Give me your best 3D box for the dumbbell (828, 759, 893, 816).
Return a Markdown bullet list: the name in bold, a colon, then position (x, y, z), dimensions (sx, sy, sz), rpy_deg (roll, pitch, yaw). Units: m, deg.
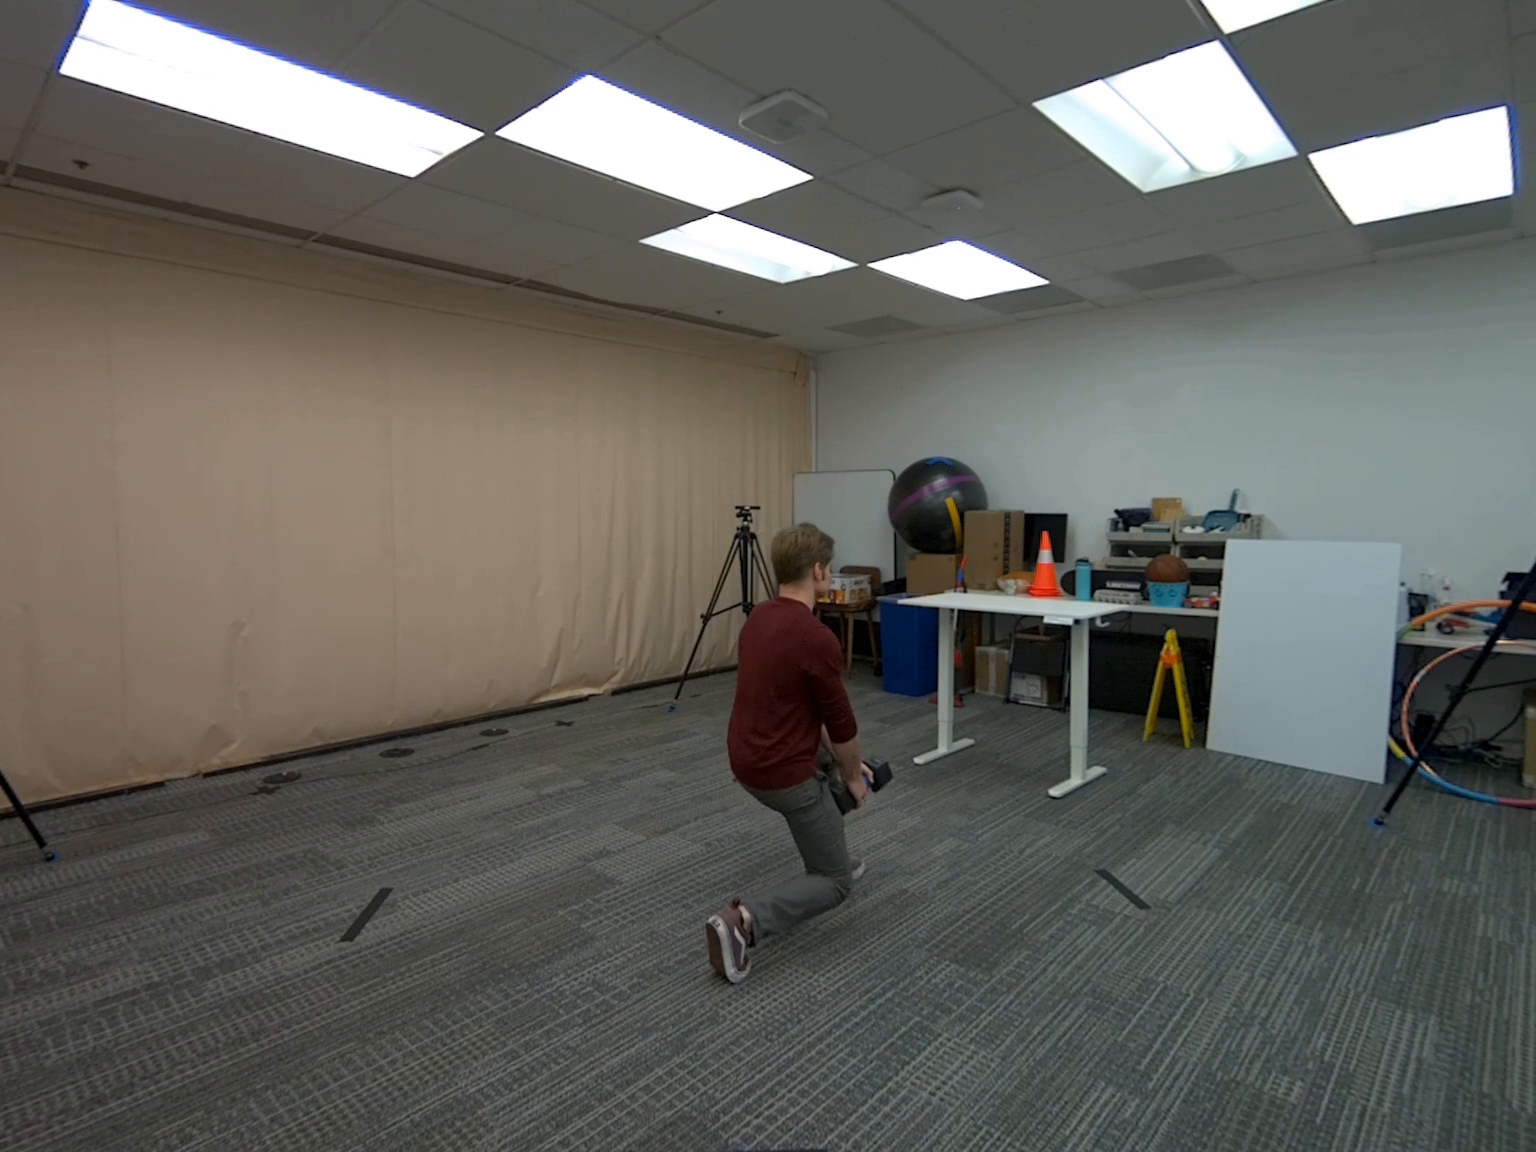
- **dumbbell**: position (0.313, 0.732, 2.957), dimensions (0.287, 0.122, 0.112), rpy_deg (-21, 59, -37)
